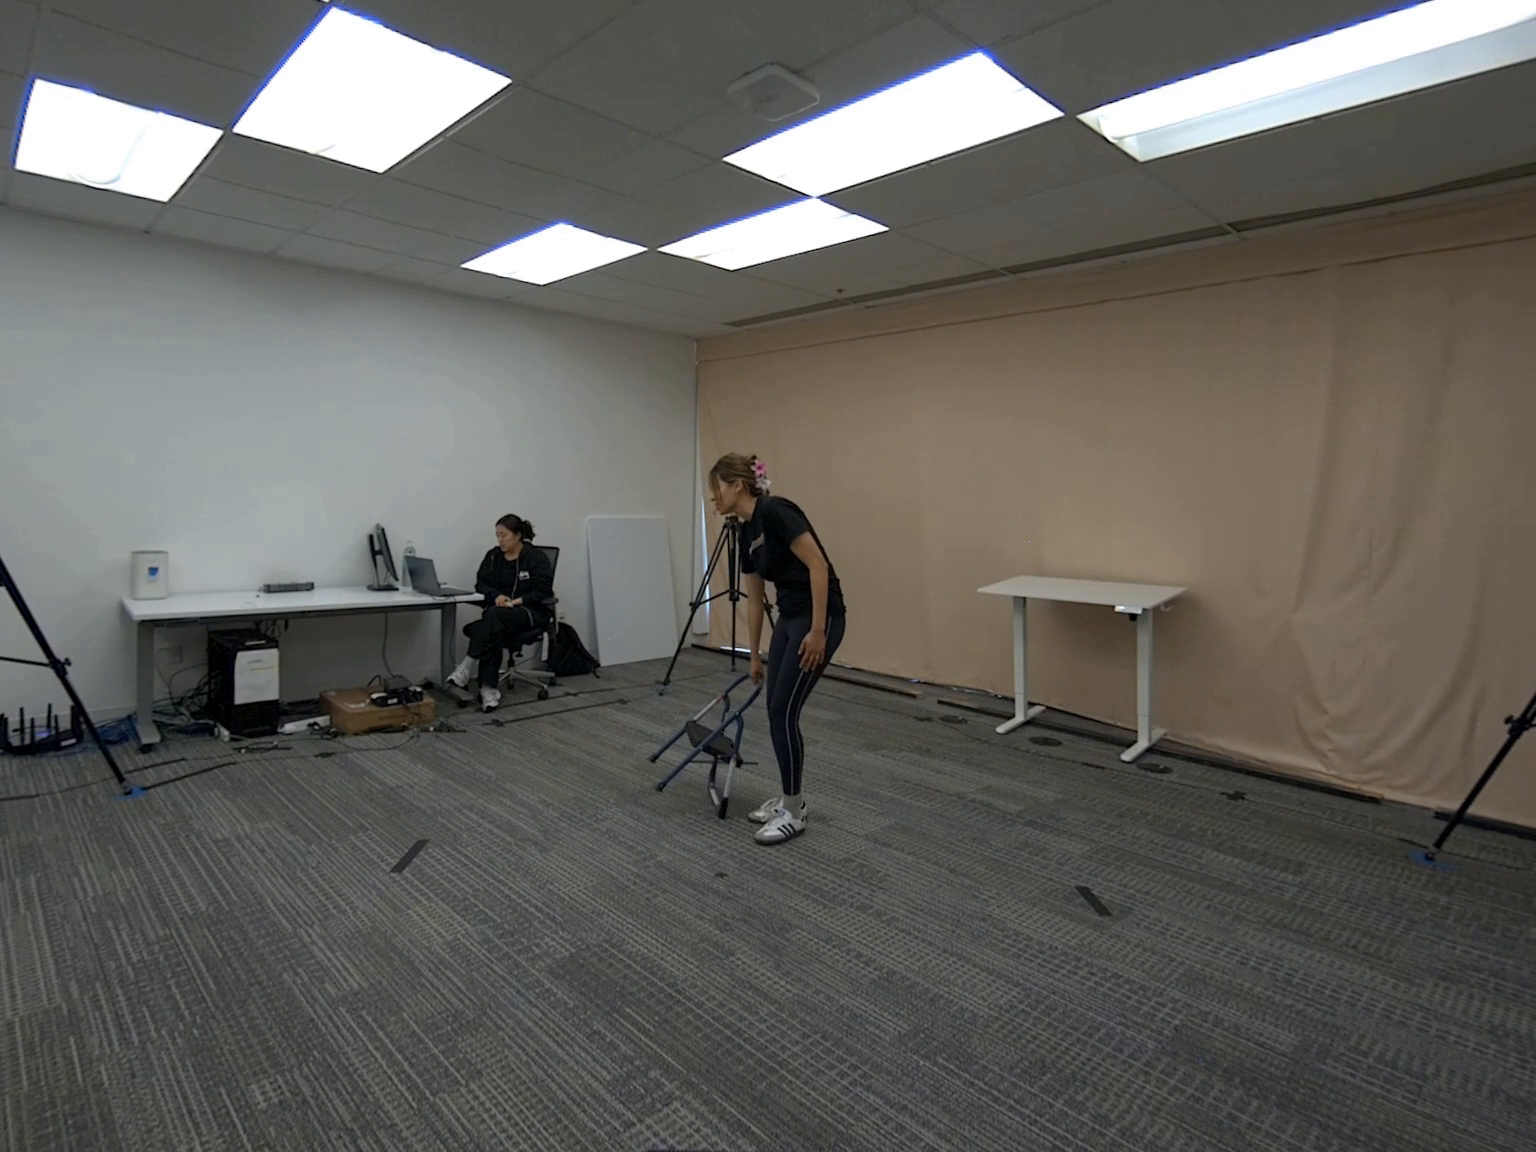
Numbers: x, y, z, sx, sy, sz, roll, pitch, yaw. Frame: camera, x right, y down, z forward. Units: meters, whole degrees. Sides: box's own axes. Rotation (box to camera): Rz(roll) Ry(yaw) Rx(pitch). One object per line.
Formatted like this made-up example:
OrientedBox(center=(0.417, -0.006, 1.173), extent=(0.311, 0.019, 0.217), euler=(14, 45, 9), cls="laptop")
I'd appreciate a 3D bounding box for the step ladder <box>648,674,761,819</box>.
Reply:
OrientedBox(center=(-0.253, 0.699, 3.826), extent=(0.345, 0.606, 0.436), euler=(27, -1, -13), cls="step ladder")
